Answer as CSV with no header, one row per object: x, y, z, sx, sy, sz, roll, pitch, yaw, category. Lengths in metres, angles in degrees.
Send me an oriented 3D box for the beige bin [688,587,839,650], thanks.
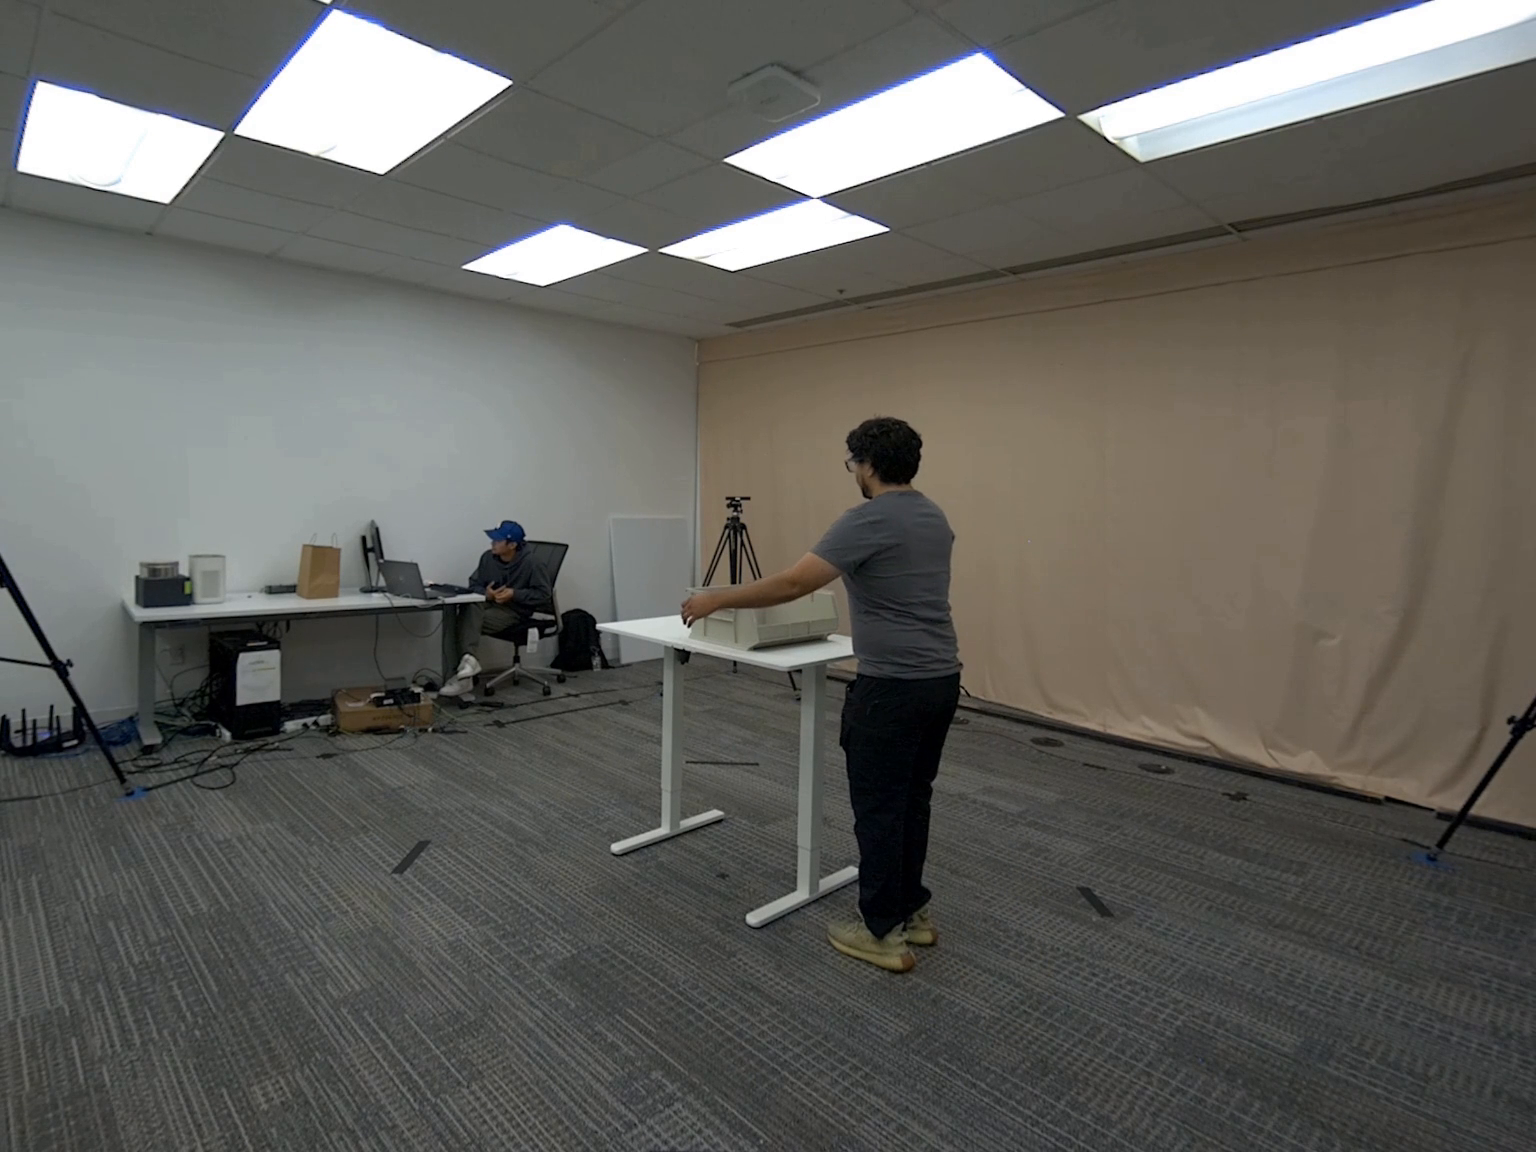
-0.015,0.145,3.050,0.413,0.188,0.387,-5,6,-42,beige bin
